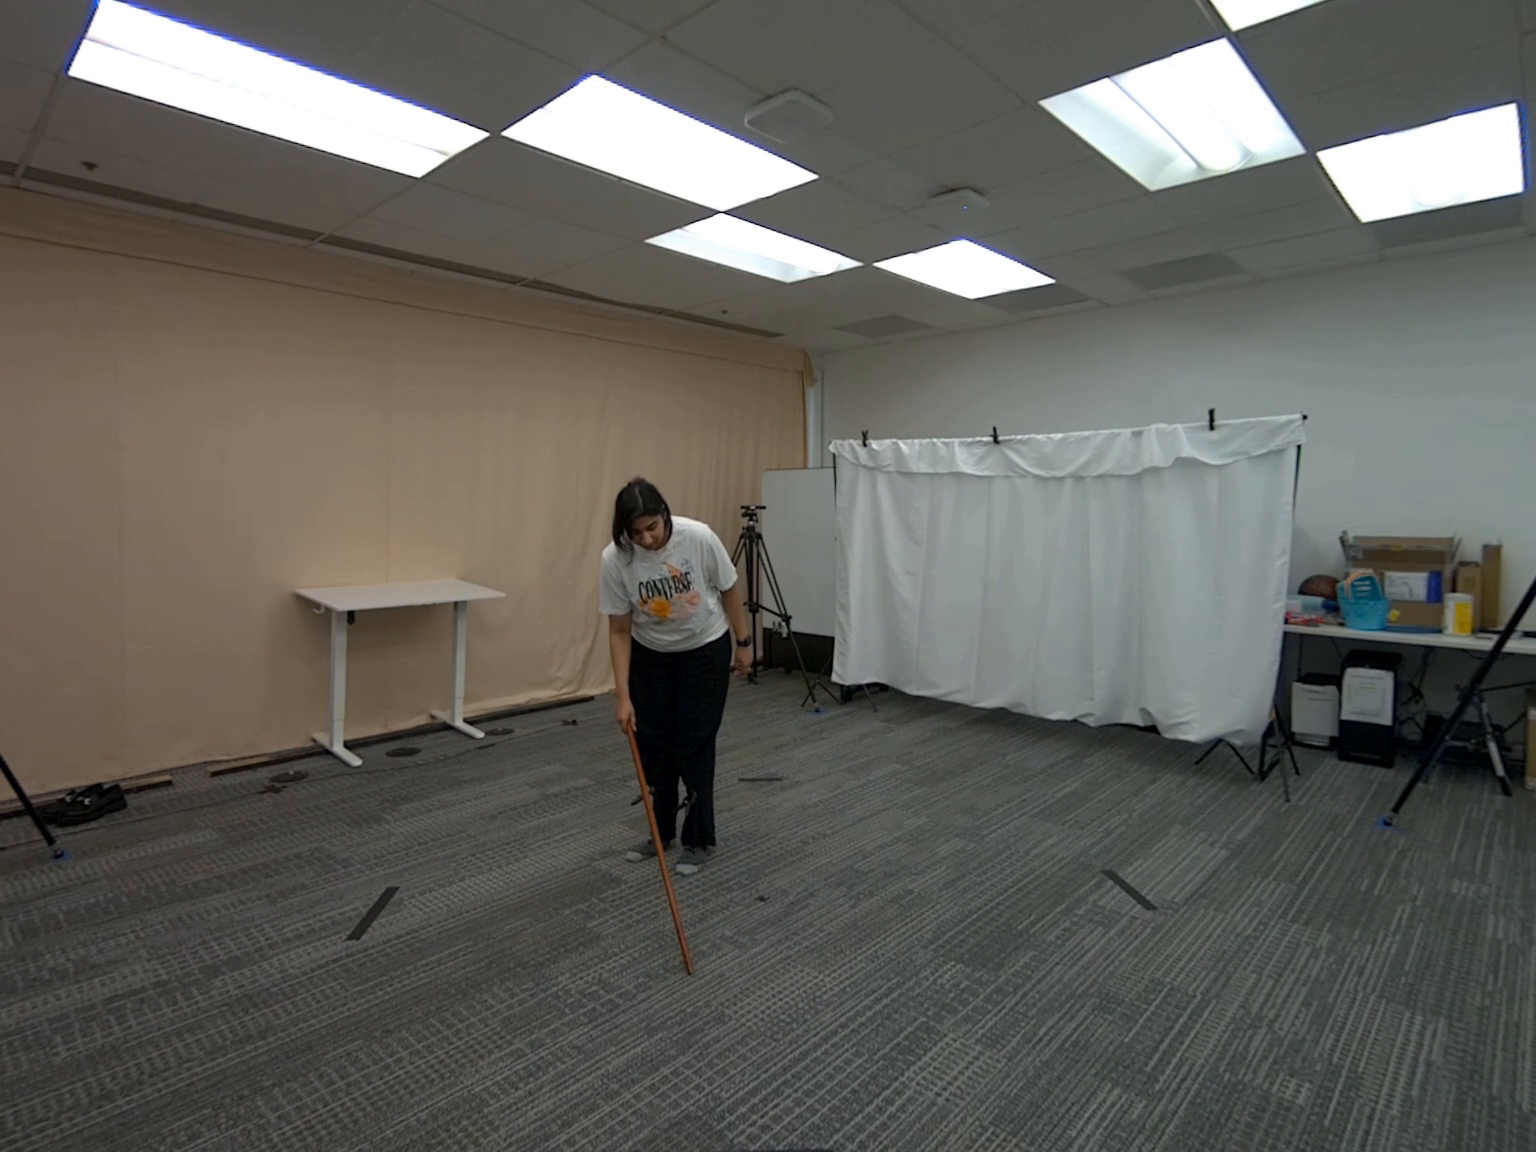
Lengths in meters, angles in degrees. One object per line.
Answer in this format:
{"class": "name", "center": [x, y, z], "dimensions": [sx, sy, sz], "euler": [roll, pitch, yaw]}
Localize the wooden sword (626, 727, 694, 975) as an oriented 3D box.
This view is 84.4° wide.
{"class": "wooden sword", "center": [-0.377, 0.839, 2.871], "dimensions": [0.049, 0.024, 1.057], "euler": [31, 22, -40]}
